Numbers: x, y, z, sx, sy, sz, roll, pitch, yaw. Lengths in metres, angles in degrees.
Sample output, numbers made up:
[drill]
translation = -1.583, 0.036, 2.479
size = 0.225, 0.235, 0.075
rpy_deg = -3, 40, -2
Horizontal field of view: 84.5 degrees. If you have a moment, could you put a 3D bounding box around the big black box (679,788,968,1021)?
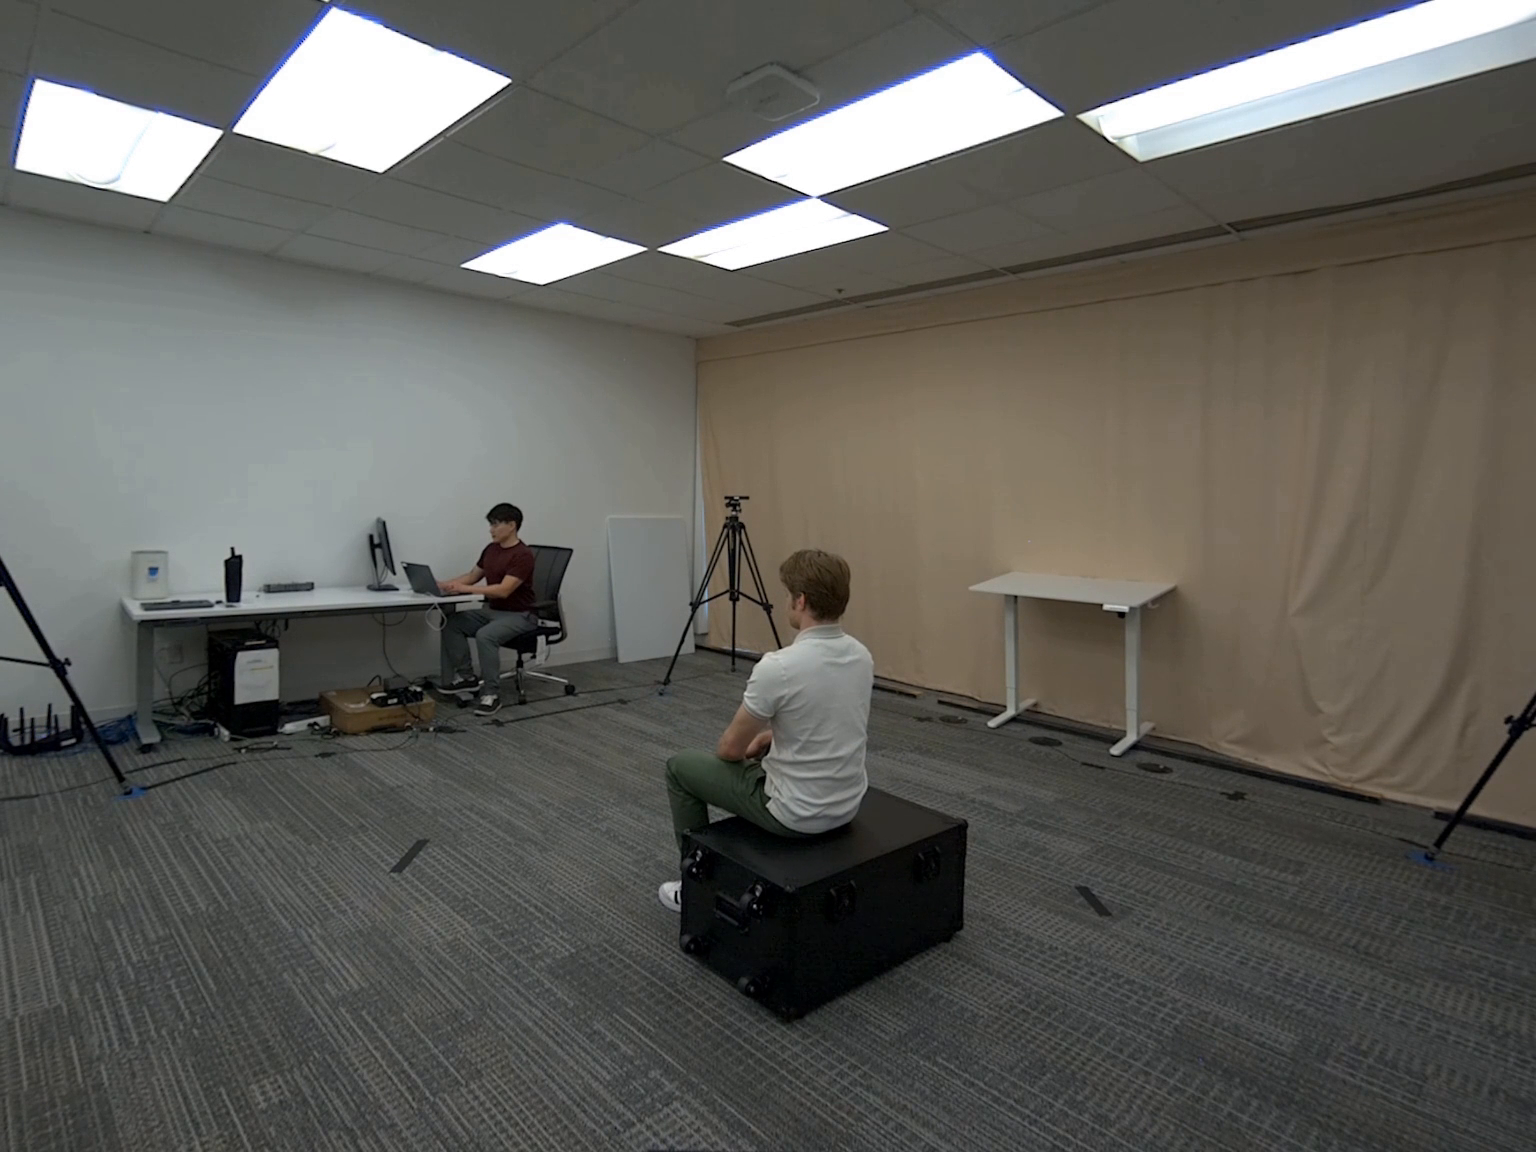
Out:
[big black box]
translation = 0.150, 0.965, 2.608
size = 0.849, 0.384, 0.537
rpy_deg = -3, 7, -41
